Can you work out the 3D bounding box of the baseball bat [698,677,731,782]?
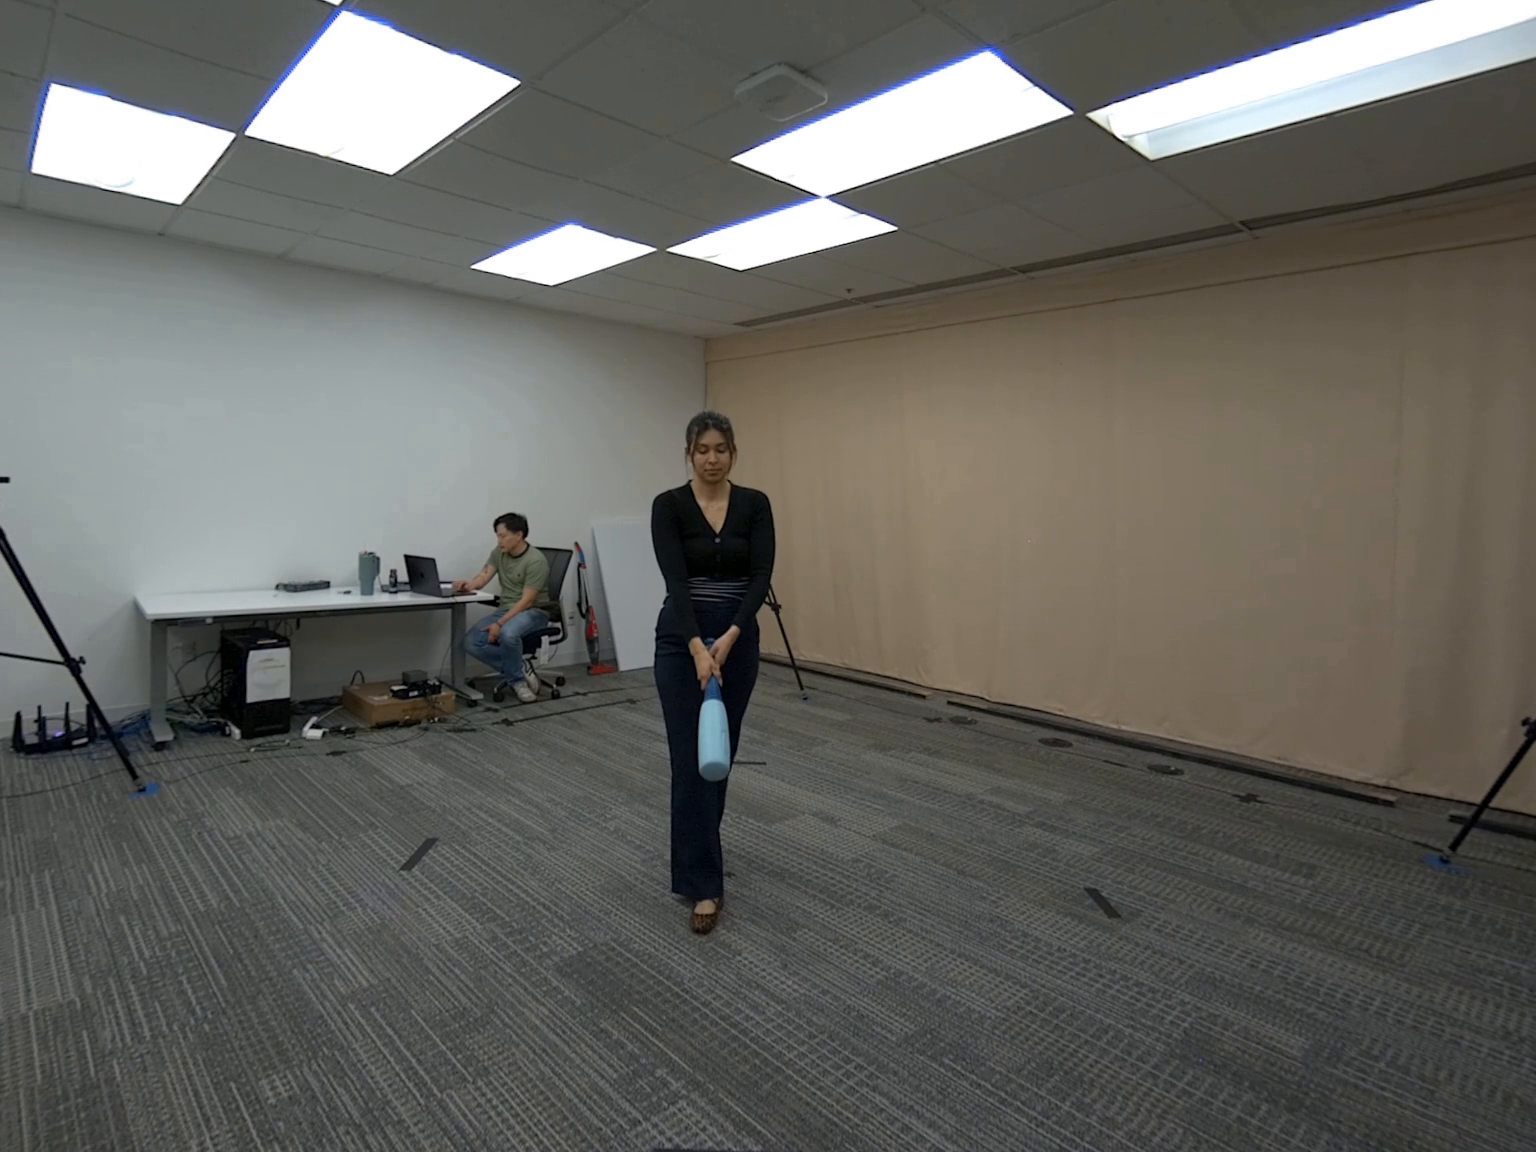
[{"bbox_3d":[-0.170,0.380,2.526,0.089,0.087,0.554,1,35,-2],"label":"baseball bat"}]
